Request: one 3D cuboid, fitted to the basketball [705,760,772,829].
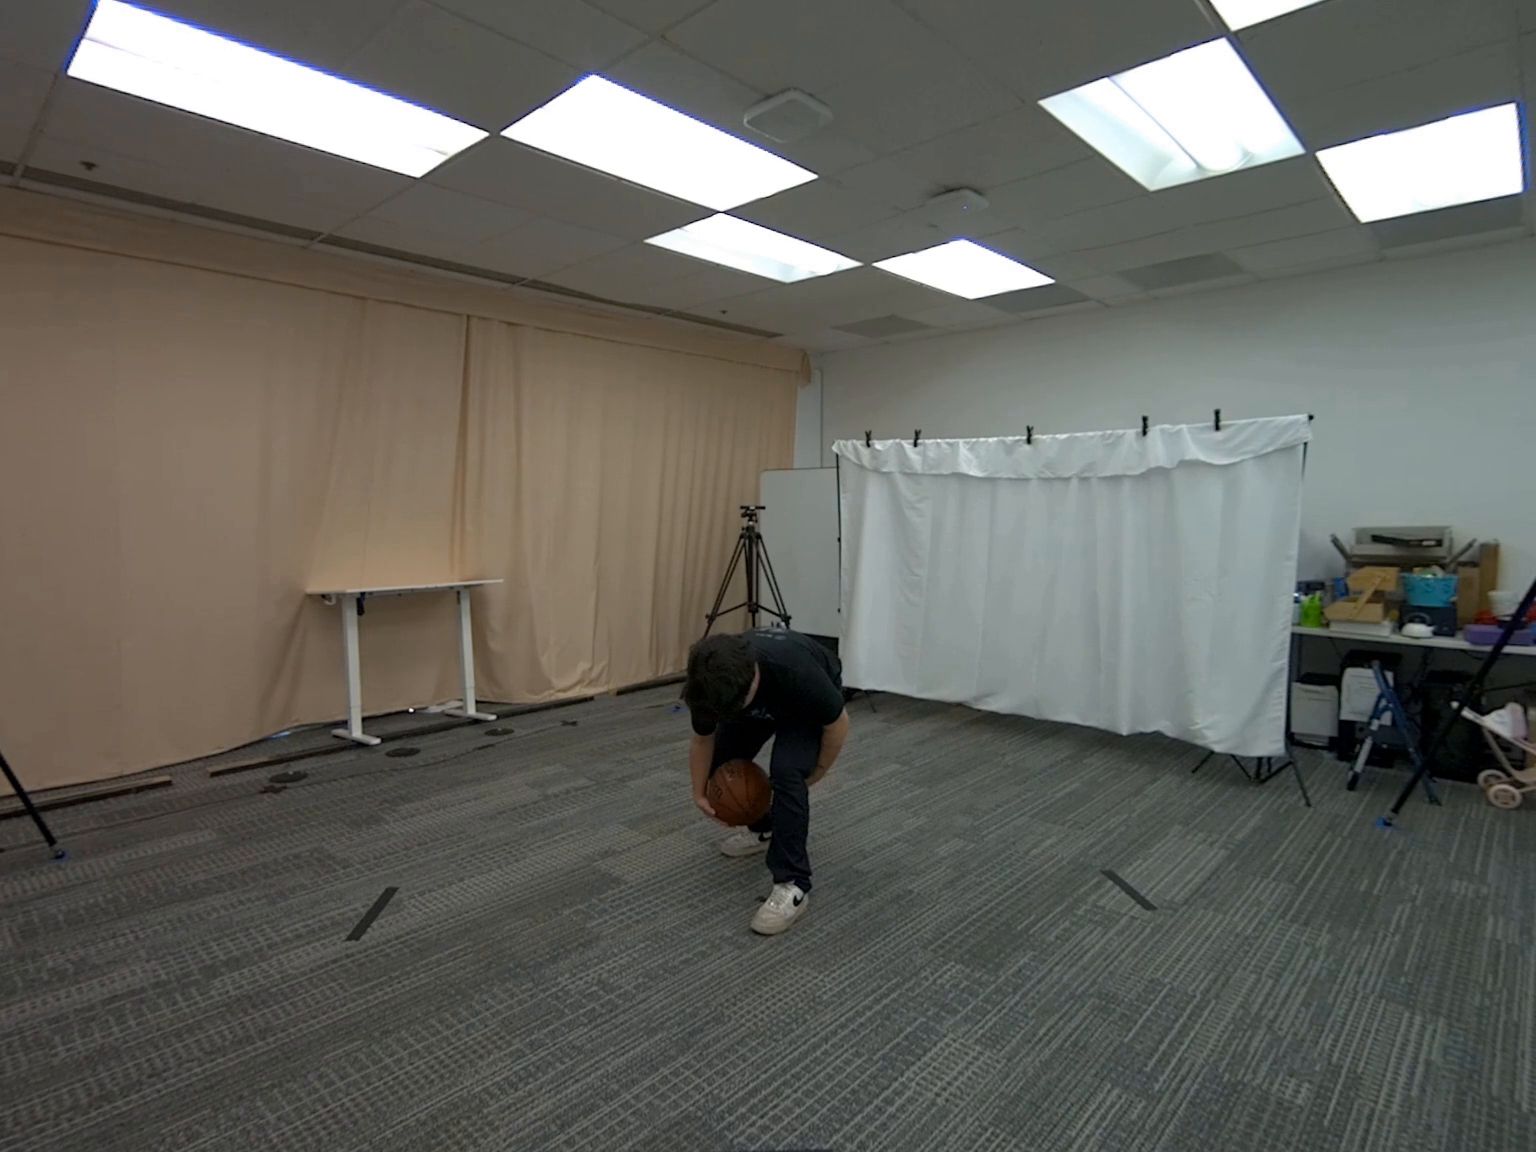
[{"bbox_3d":[-0.088,0.796,3.114,0.236,0.235,0.237,0,4,-2],"label":"basketball"}]
